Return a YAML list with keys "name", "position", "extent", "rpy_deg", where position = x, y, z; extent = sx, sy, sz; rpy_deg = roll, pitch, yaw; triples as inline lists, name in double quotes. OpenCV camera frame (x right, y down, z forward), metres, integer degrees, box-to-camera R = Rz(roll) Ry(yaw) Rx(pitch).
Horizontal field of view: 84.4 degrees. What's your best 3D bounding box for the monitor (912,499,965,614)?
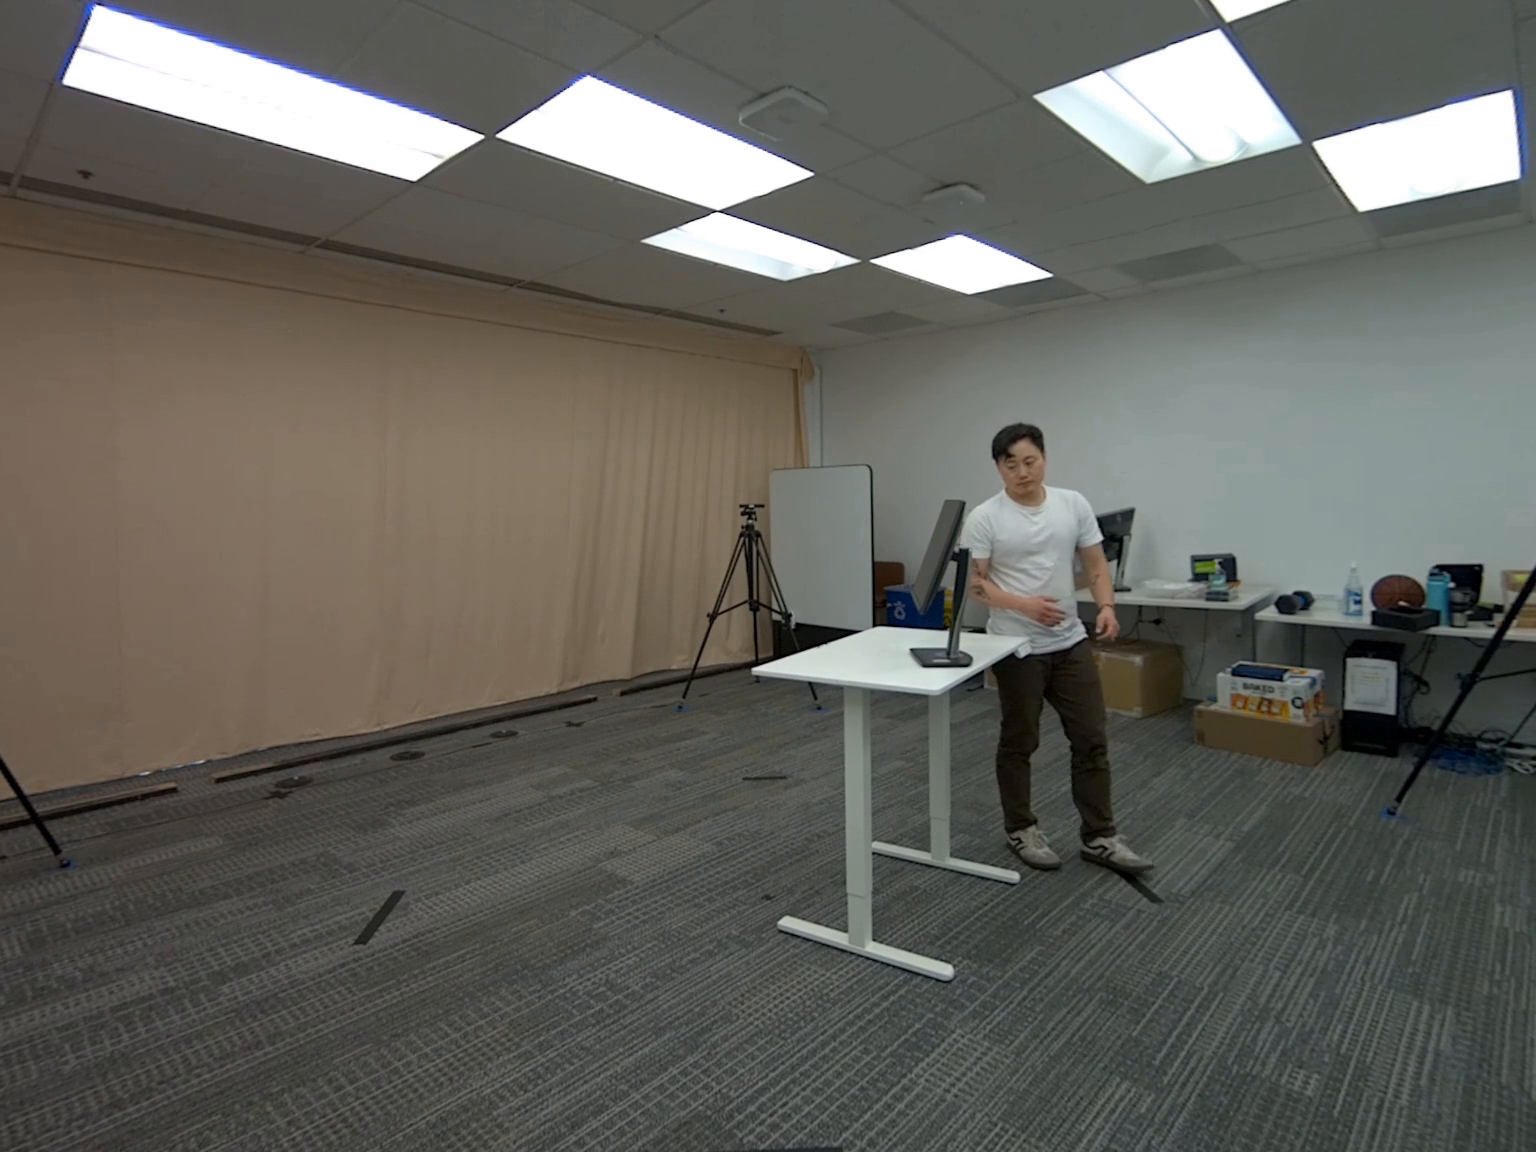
- name: "monitor"
  position: [0.576, 0.019, 2.710]
  extent: [0.188, 0.521, 0.536]
  rpy_deg: [3, 4, 5]
